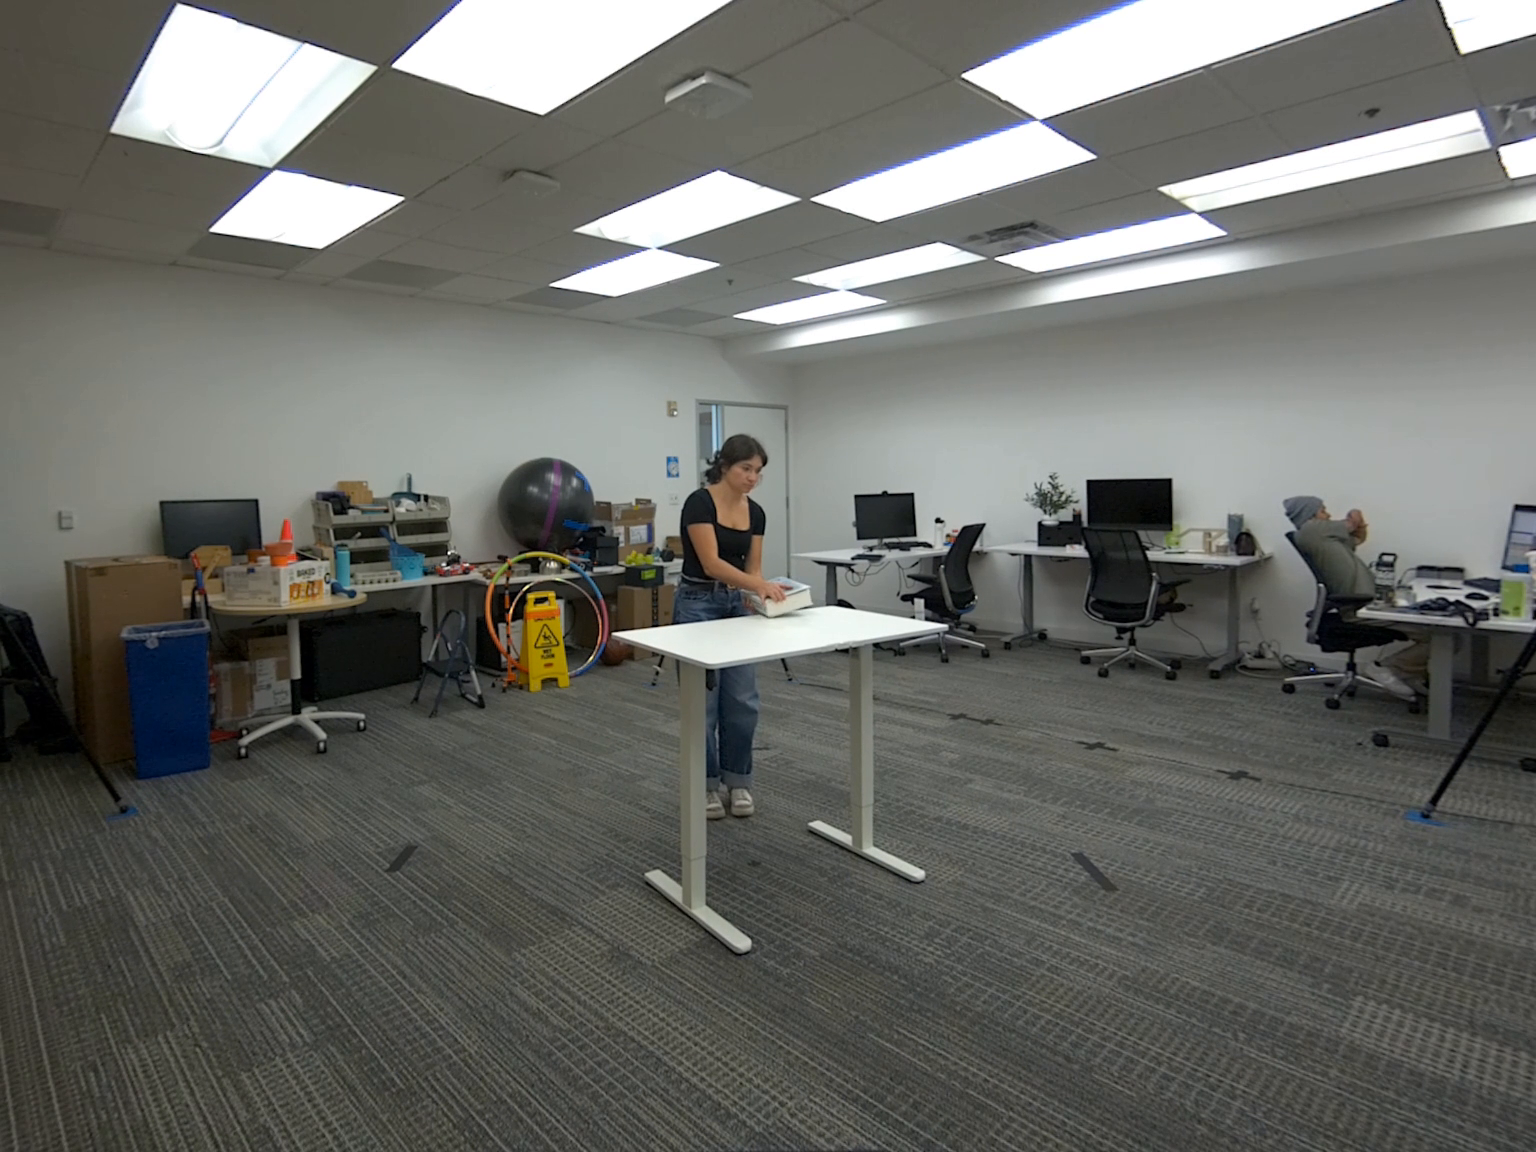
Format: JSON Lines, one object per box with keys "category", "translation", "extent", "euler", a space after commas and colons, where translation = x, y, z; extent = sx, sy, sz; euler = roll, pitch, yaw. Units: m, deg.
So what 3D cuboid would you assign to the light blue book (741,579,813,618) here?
{"category": "light blue book", "translation": [0.031, 0.075, 3.282], "extent": [0.189, 0.058, 0.268], "euler": [-16, 16, -18]}
